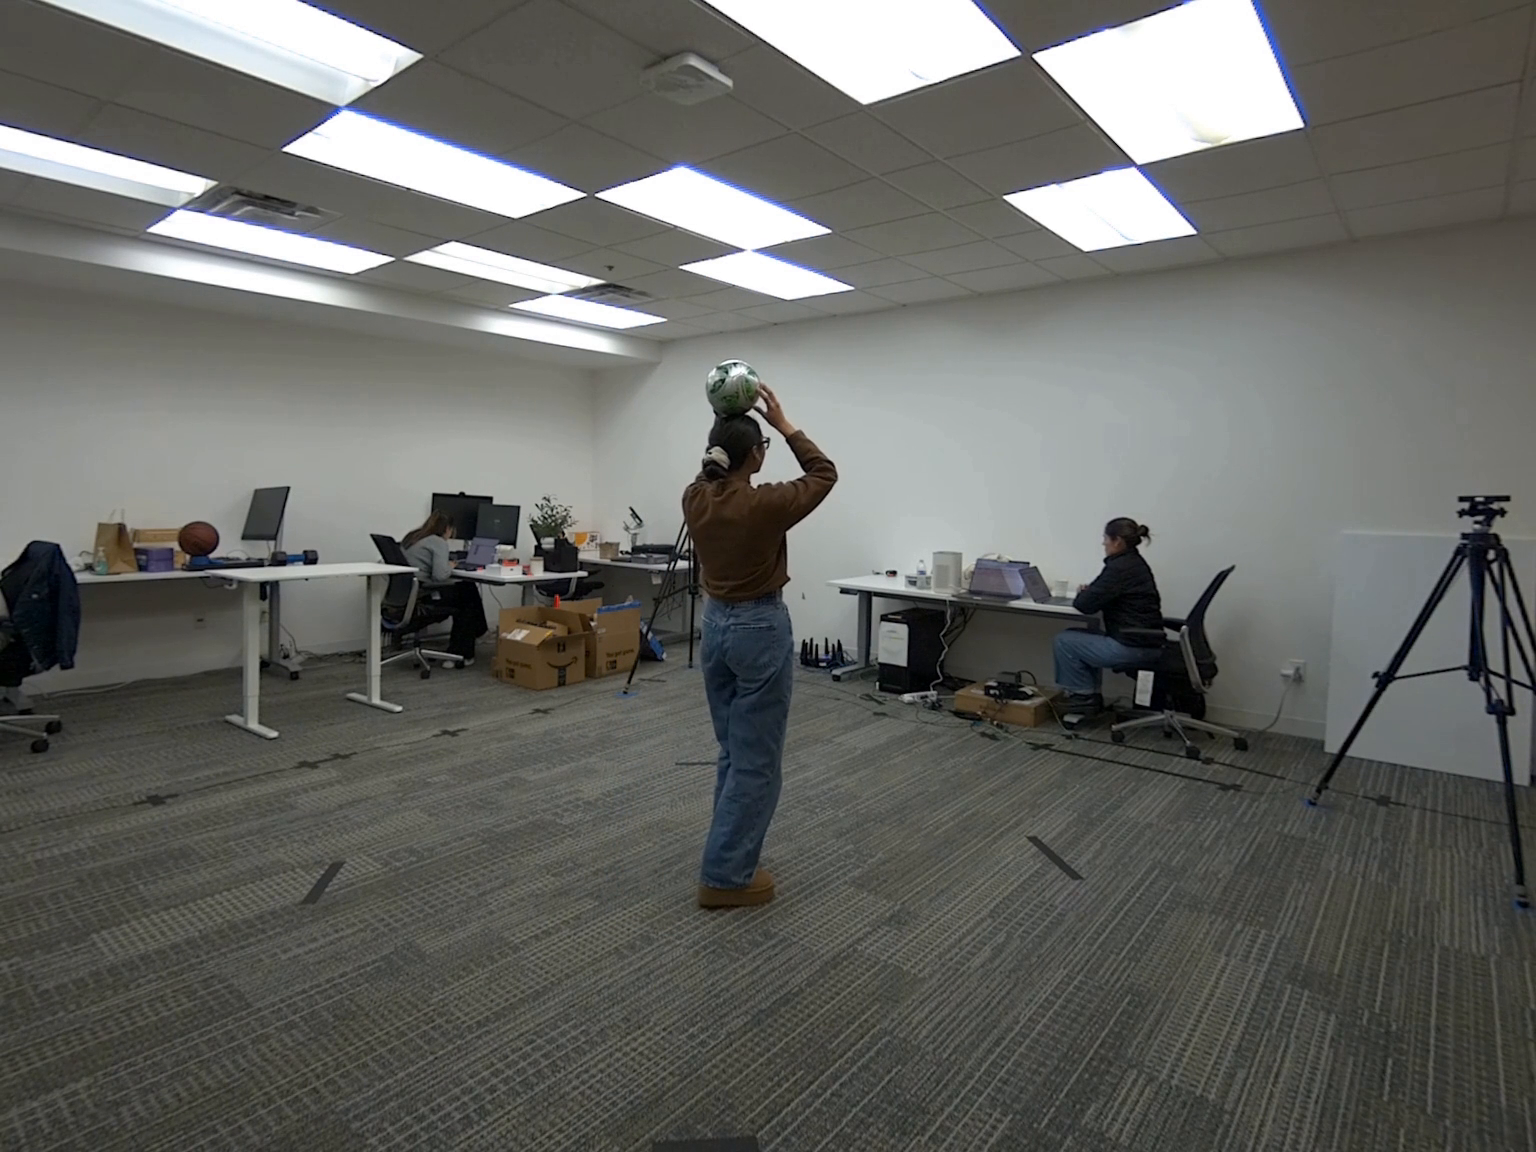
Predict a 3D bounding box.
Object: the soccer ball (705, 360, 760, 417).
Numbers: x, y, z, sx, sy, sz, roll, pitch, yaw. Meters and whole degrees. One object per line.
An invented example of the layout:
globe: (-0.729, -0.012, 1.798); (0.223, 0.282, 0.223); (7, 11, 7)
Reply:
soccer ball: (-0.129, -0.639, 2.892); (0.187, 0.187, 0.188); (1, 4, -2)
